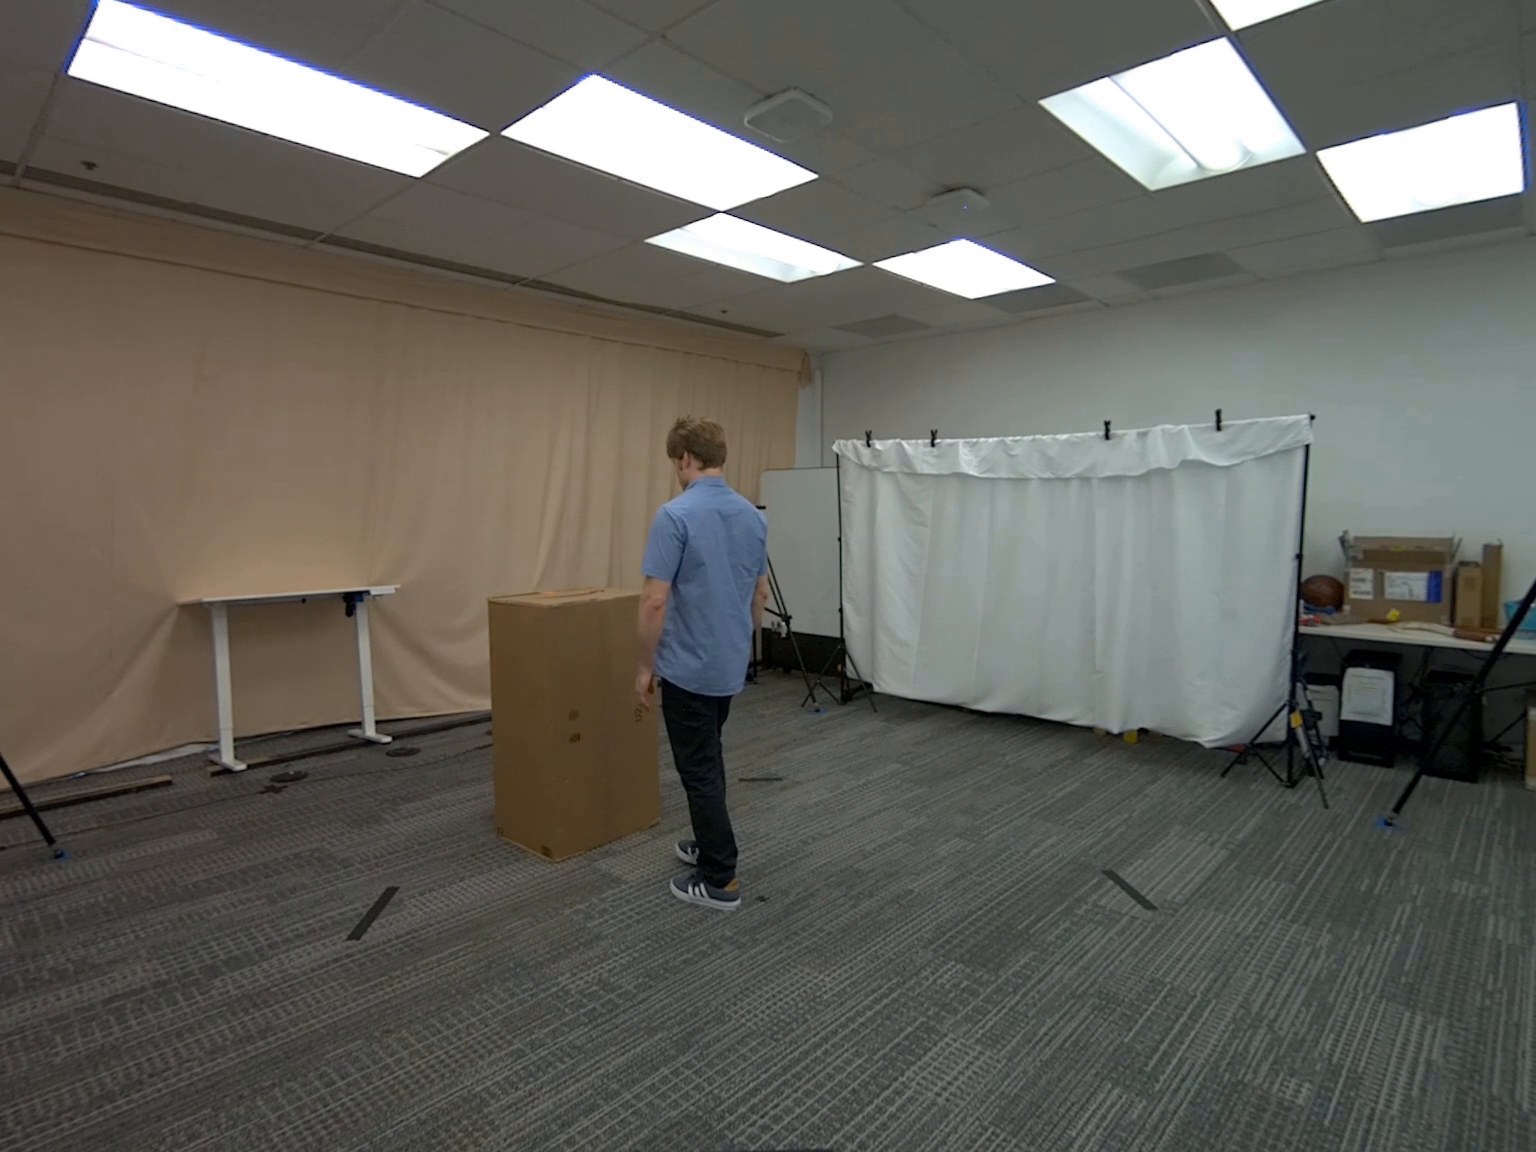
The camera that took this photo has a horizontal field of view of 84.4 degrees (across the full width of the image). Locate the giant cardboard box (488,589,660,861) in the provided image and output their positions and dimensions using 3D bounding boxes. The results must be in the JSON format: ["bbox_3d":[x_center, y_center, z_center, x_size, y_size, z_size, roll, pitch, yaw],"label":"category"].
[{"bbox_3d":[-0.826,0.589,3.616,0.440,1.023,0.560,3,5,42],"label":"giant cardboard box"}]
